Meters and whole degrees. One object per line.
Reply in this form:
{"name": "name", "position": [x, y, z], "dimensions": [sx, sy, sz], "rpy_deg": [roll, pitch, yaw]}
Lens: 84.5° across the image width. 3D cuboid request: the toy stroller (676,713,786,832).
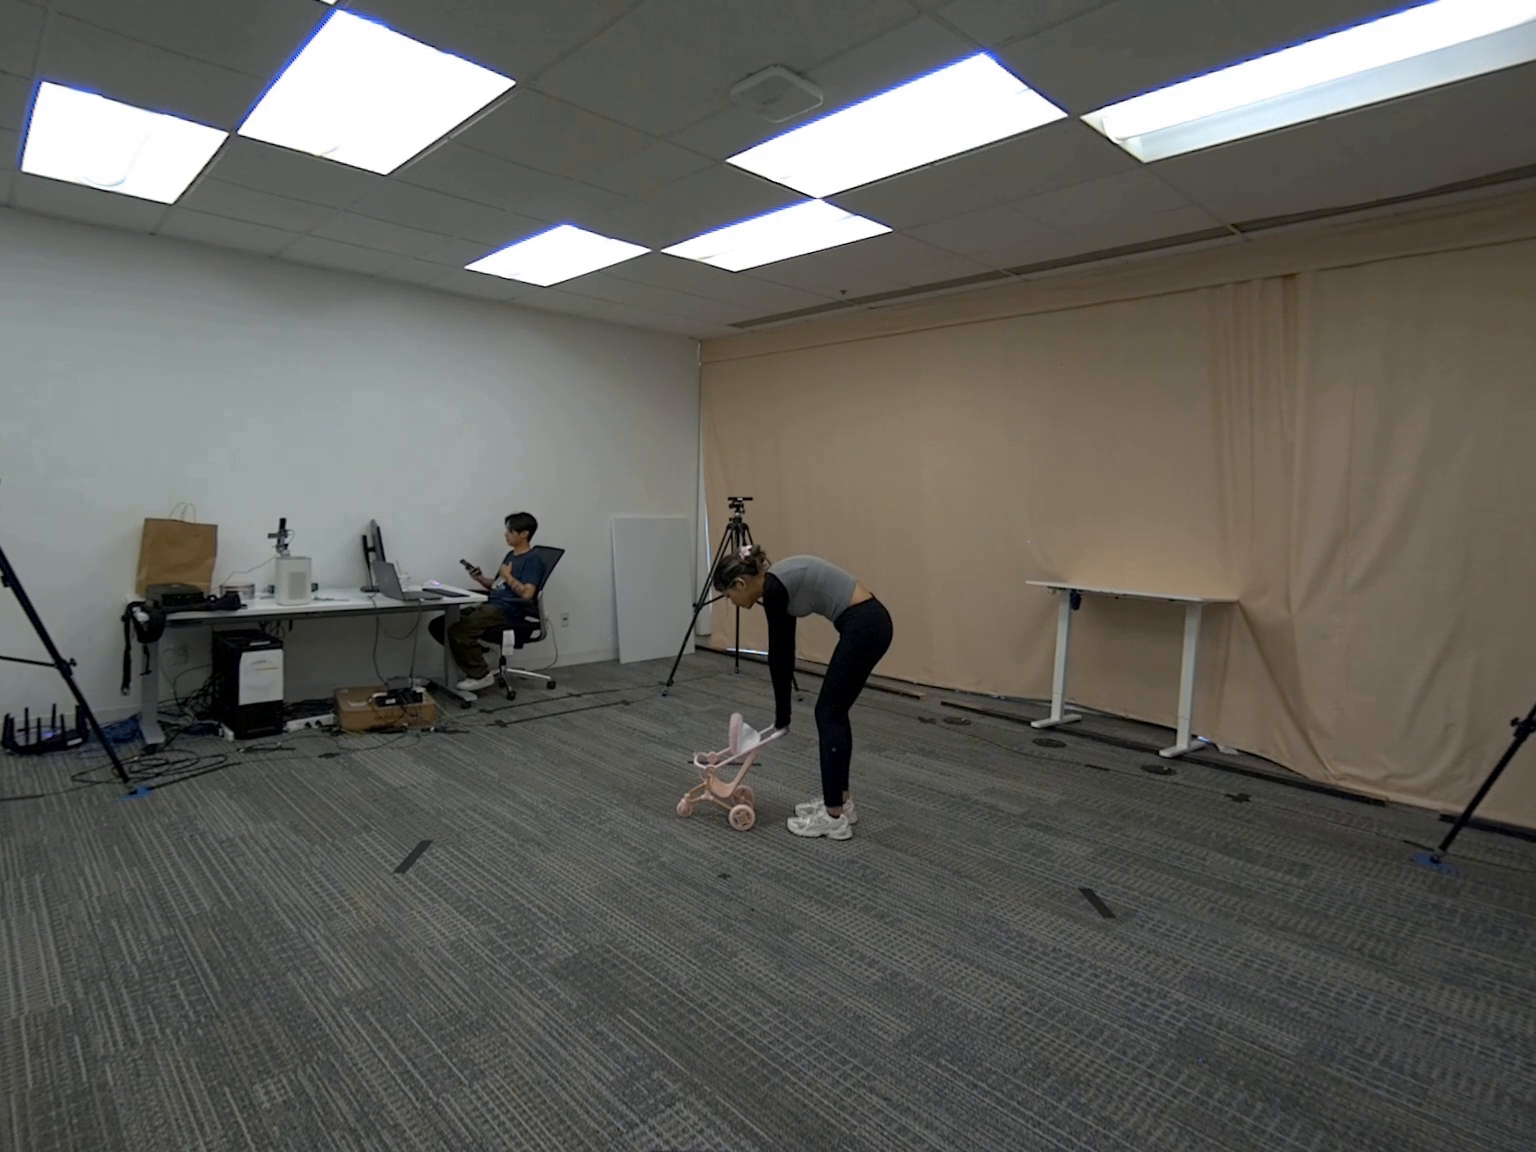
{"name": "toy stroller", "position": [-0.170, 0.834, 3.662], "dimensions": [0.343, 0.534, 0.280], "rpy_deg": [19, 4, 5]}
